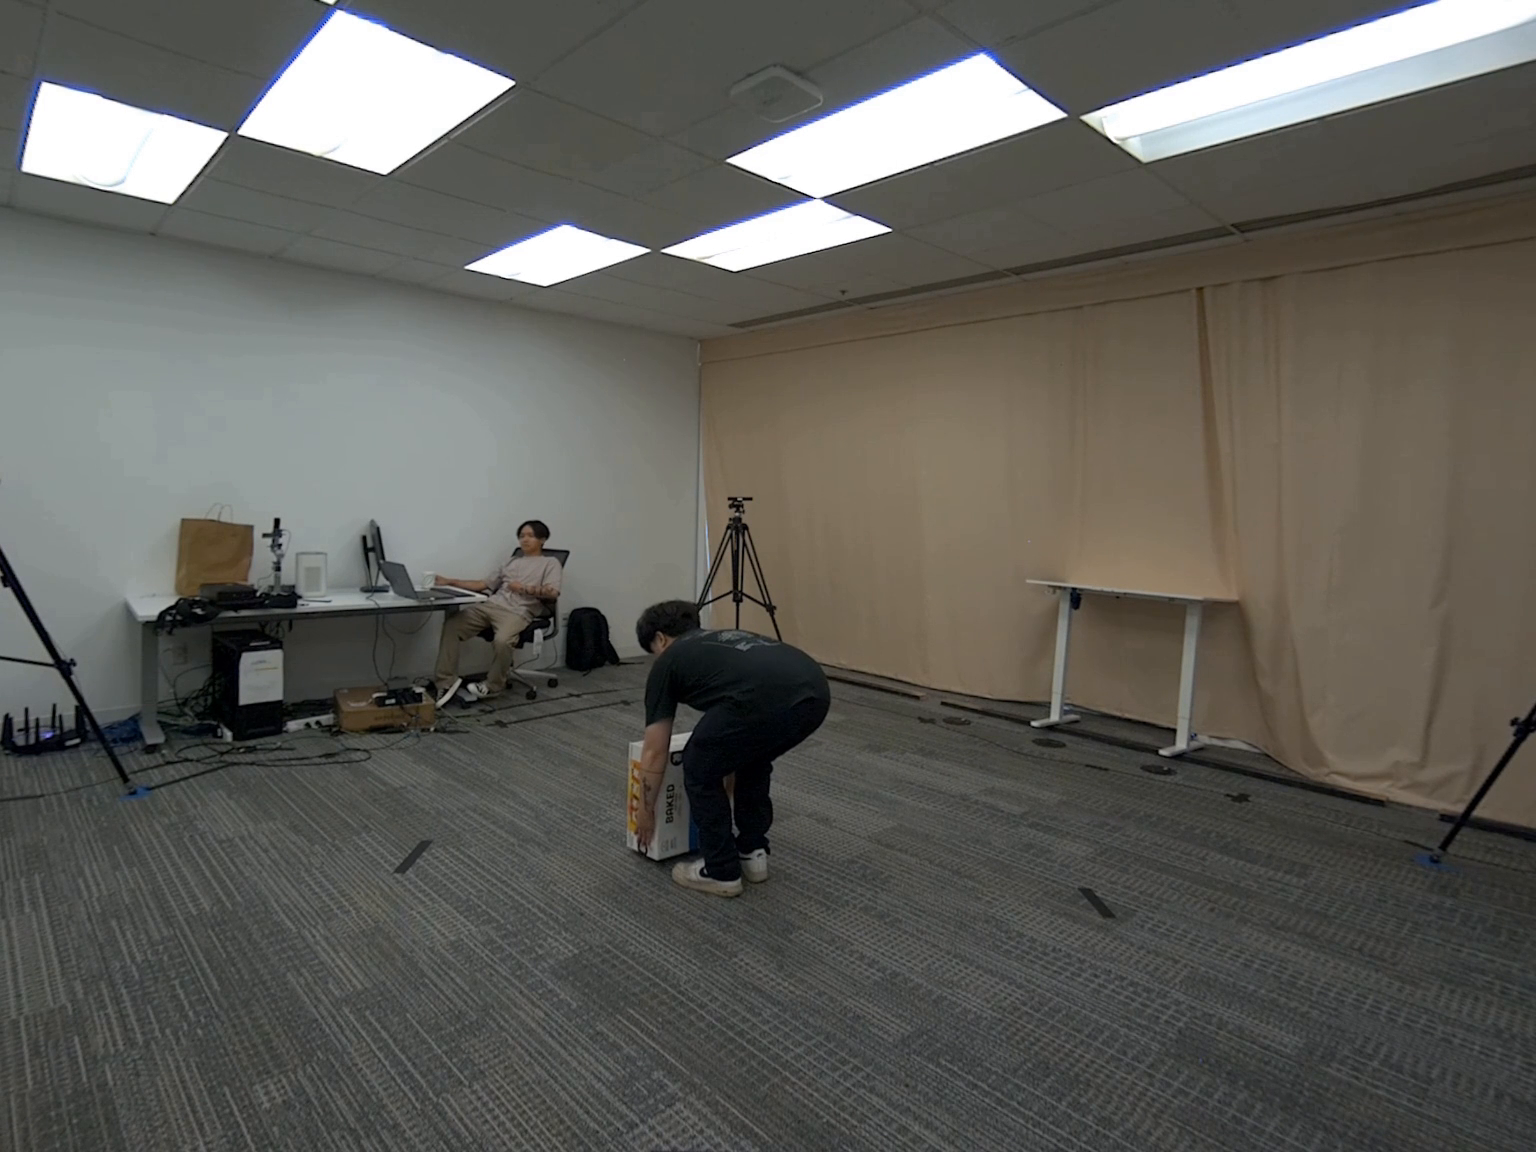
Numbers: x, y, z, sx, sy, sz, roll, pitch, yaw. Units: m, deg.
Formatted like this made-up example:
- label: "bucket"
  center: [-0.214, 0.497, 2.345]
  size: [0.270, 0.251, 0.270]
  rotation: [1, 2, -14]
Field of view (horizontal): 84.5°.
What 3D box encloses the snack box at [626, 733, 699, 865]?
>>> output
- label: "snack box"
  center: [-0.356, 0.856, 3.320]
  size: [0.332, 0.405, 0.211]
  rotation: [0, 1, -44]
